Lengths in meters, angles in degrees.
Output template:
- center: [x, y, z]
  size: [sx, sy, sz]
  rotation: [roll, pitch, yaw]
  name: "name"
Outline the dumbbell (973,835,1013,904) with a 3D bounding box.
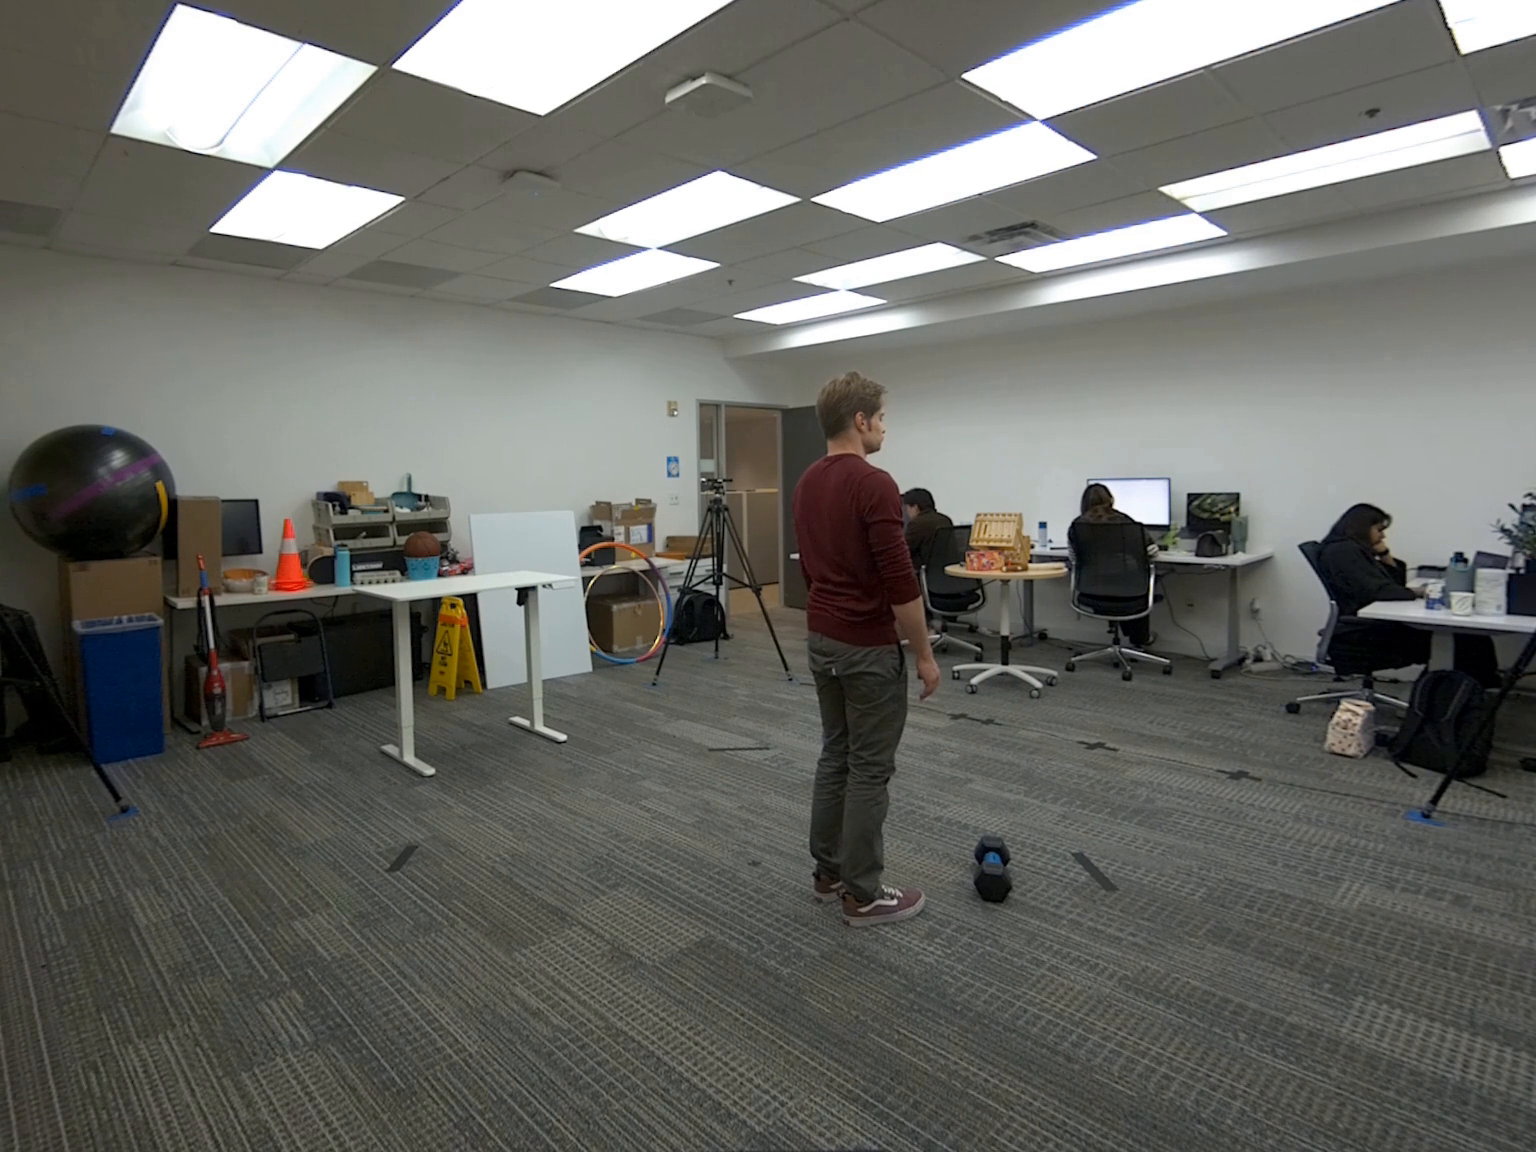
- center: [0.772, 0.997, 2.922]
  size: [0.110, 0.122, 0.290]
  rotation: [31, 12, 9]
  name: "dumbbell"
